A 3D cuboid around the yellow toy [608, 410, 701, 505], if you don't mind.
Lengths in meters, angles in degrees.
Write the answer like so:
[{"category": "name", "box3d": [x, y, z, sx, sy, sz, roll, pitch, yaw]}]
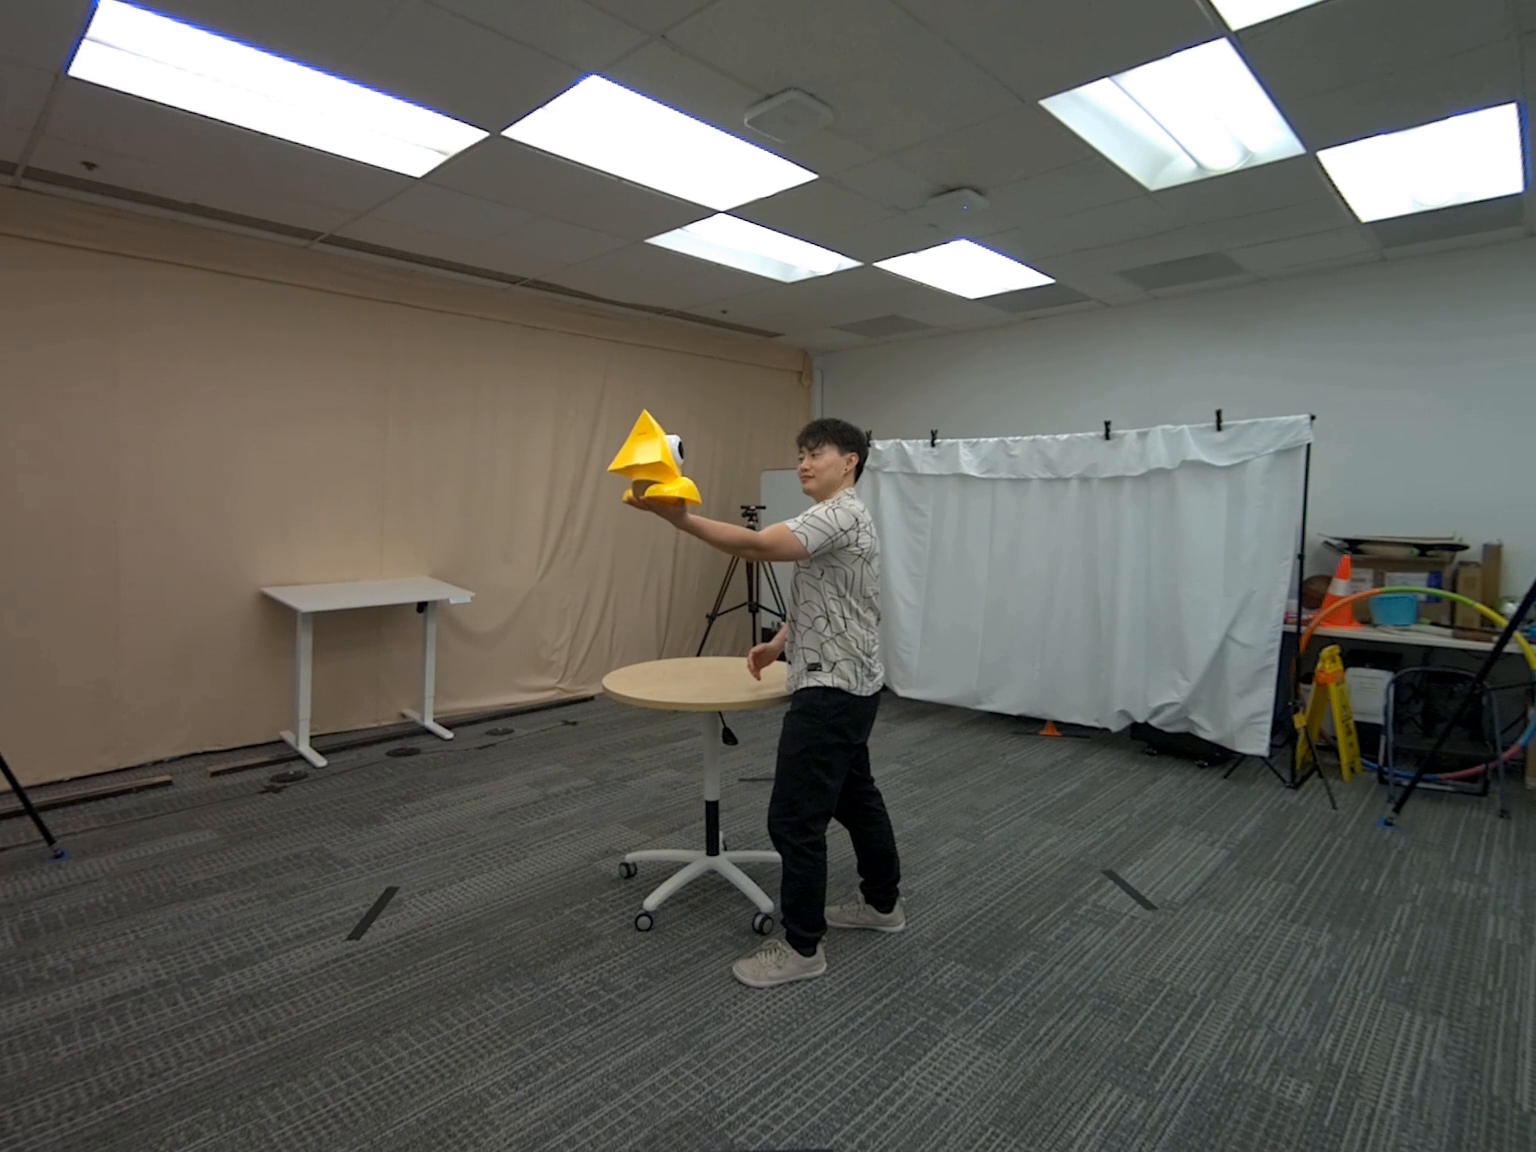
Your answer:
[{"category": "yellow toy", "box3d": [-0.277, -0.305, 2.176, 0.211, 0.231, 0.186, -3, -8, 41]}]
